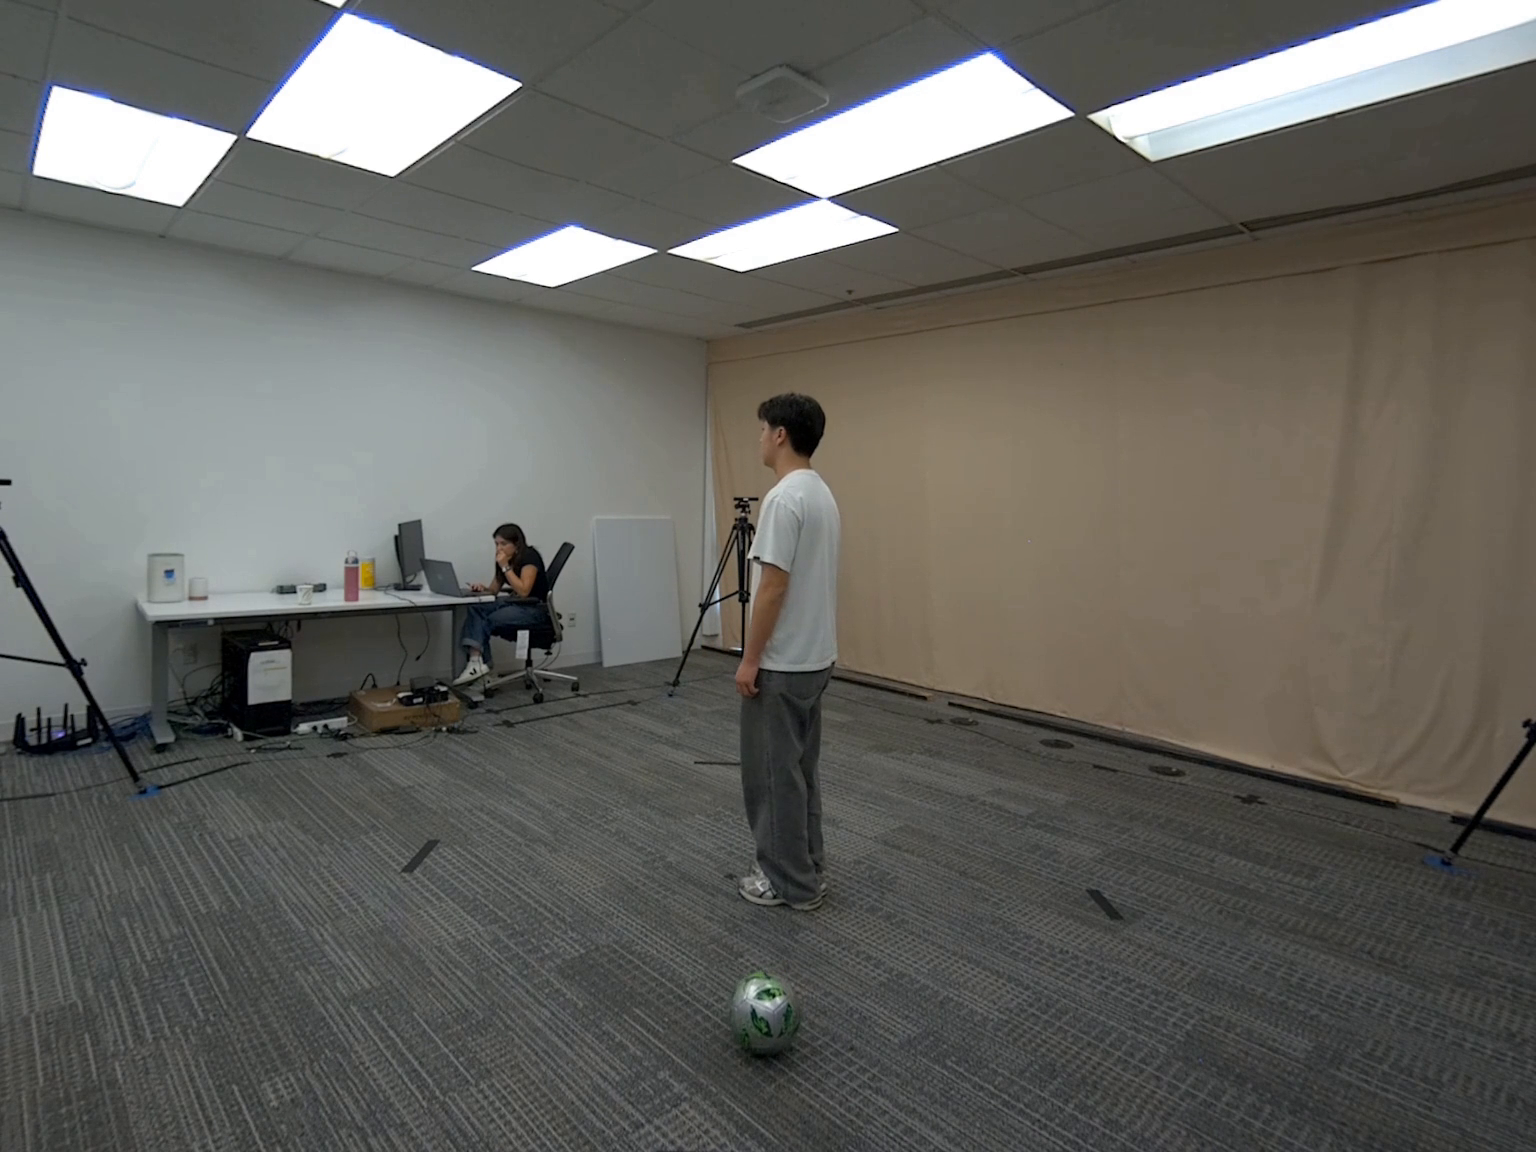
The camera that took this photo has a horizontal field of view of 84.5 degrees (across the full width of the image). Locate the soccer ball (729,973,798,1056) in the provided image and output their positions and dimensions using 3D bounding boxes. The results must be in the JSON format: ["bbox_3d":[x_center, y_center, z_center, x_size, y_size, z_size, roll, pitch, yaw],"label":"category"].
[{"bbox_3d":[-0.022,1.114,2.123,0.187,0.187,0.188,1,4,-1],"label":"soccer ball"}]
